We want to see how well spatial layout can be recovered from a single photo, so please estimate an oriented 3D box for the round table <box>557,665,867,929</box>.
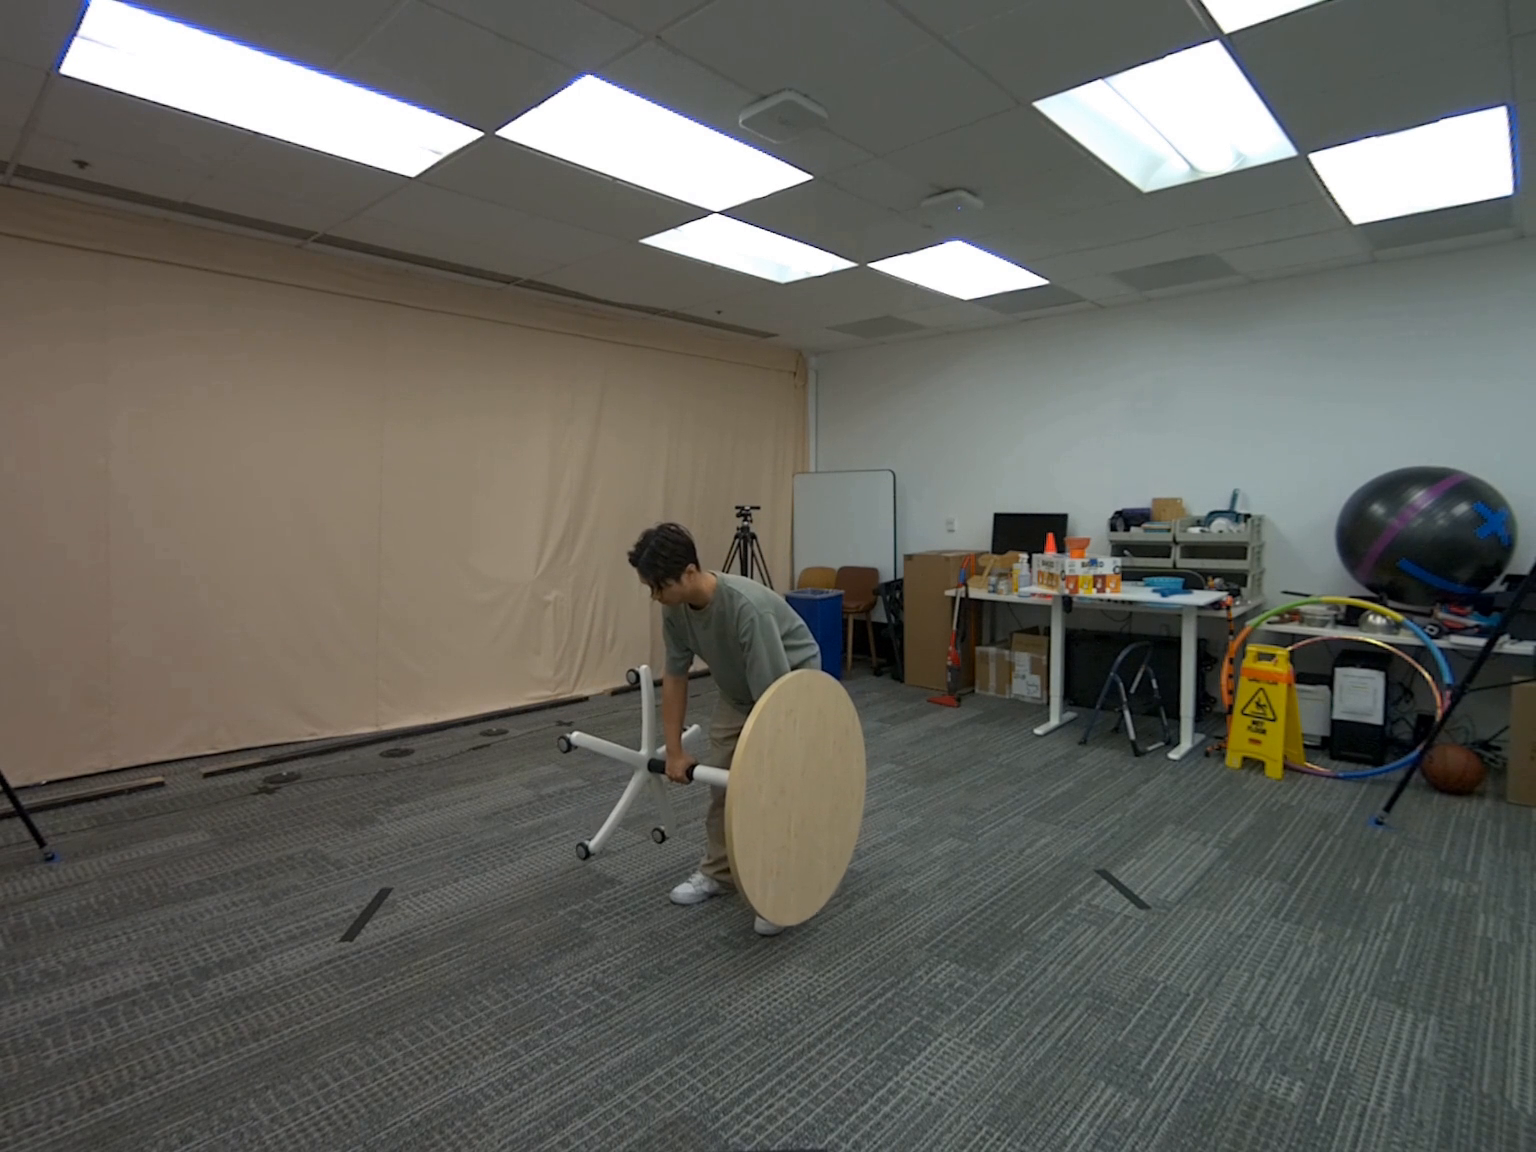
[{"bbox_3d":[-0.208,0.686,2.853,0.810,0.784,0.762,-2,2,36],"label":"round table"}]
